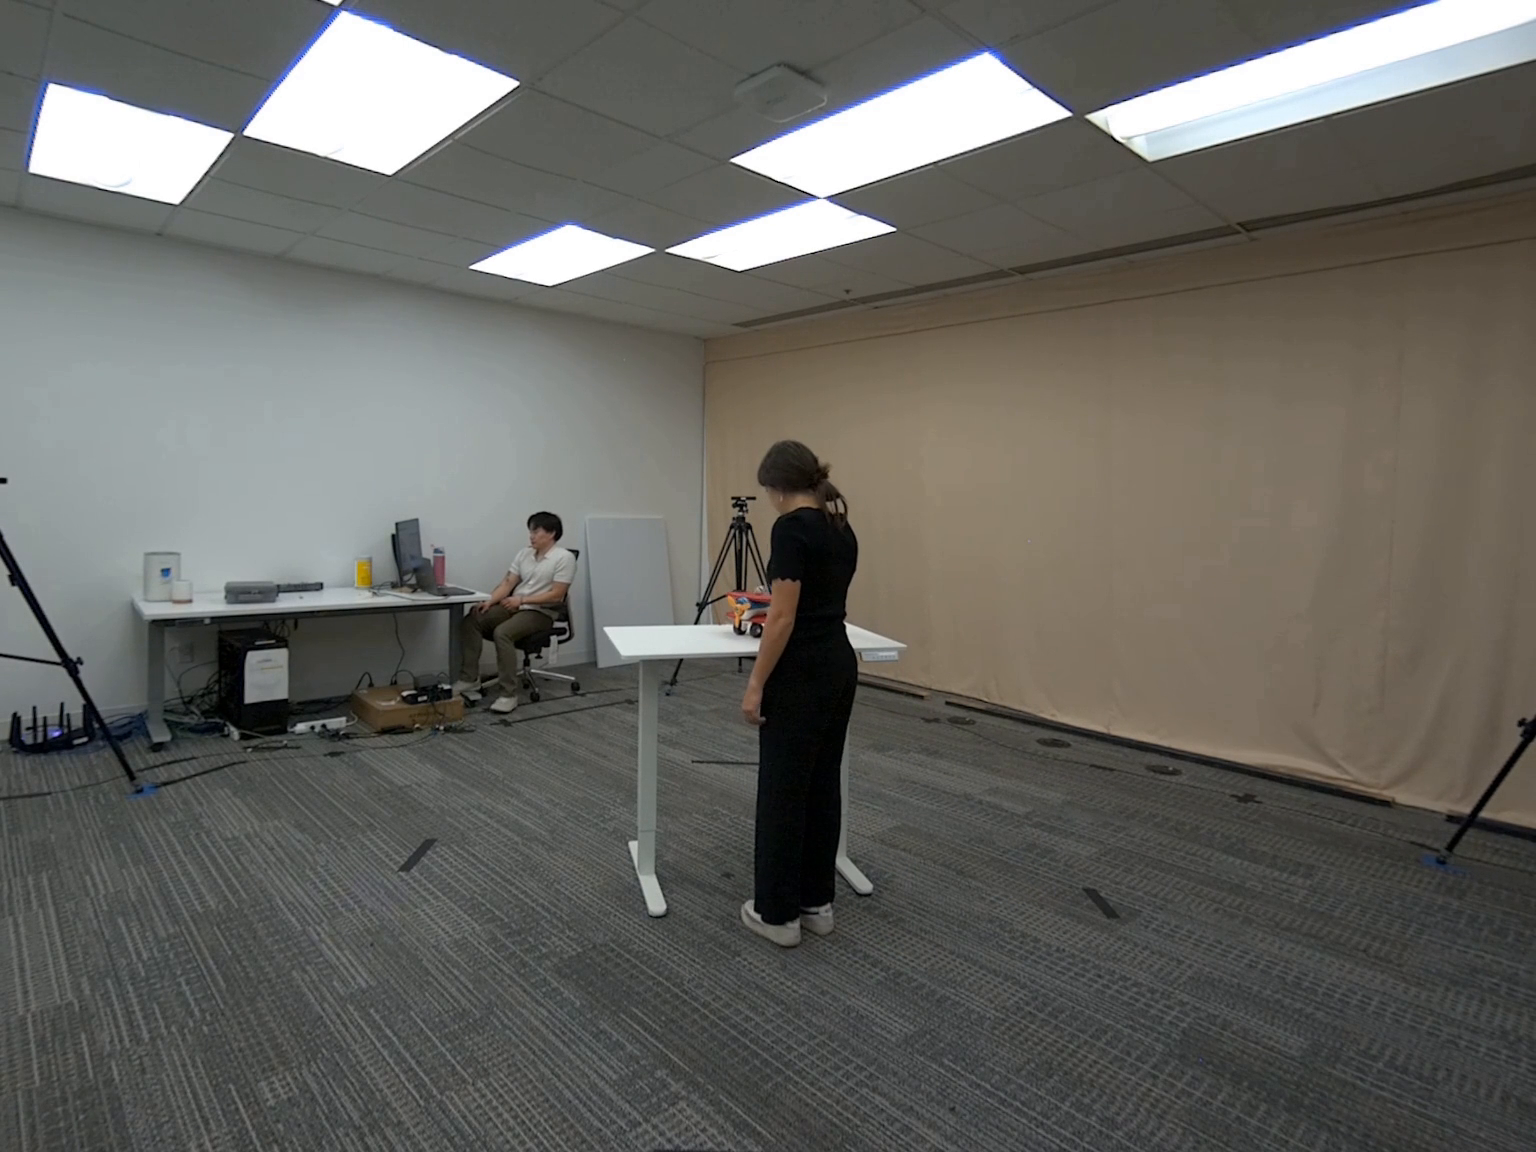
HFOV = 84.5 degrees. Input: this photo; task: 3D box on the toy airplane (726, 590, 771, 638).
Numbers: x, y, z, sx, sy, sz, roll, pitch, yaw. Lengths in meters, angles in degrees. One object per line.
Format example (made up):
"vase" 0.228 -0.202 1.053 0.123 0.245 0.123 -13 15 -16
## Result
"toy airplane" -0.045 0.124 3.164 0.254 0.154 0.259 -4 17 17
